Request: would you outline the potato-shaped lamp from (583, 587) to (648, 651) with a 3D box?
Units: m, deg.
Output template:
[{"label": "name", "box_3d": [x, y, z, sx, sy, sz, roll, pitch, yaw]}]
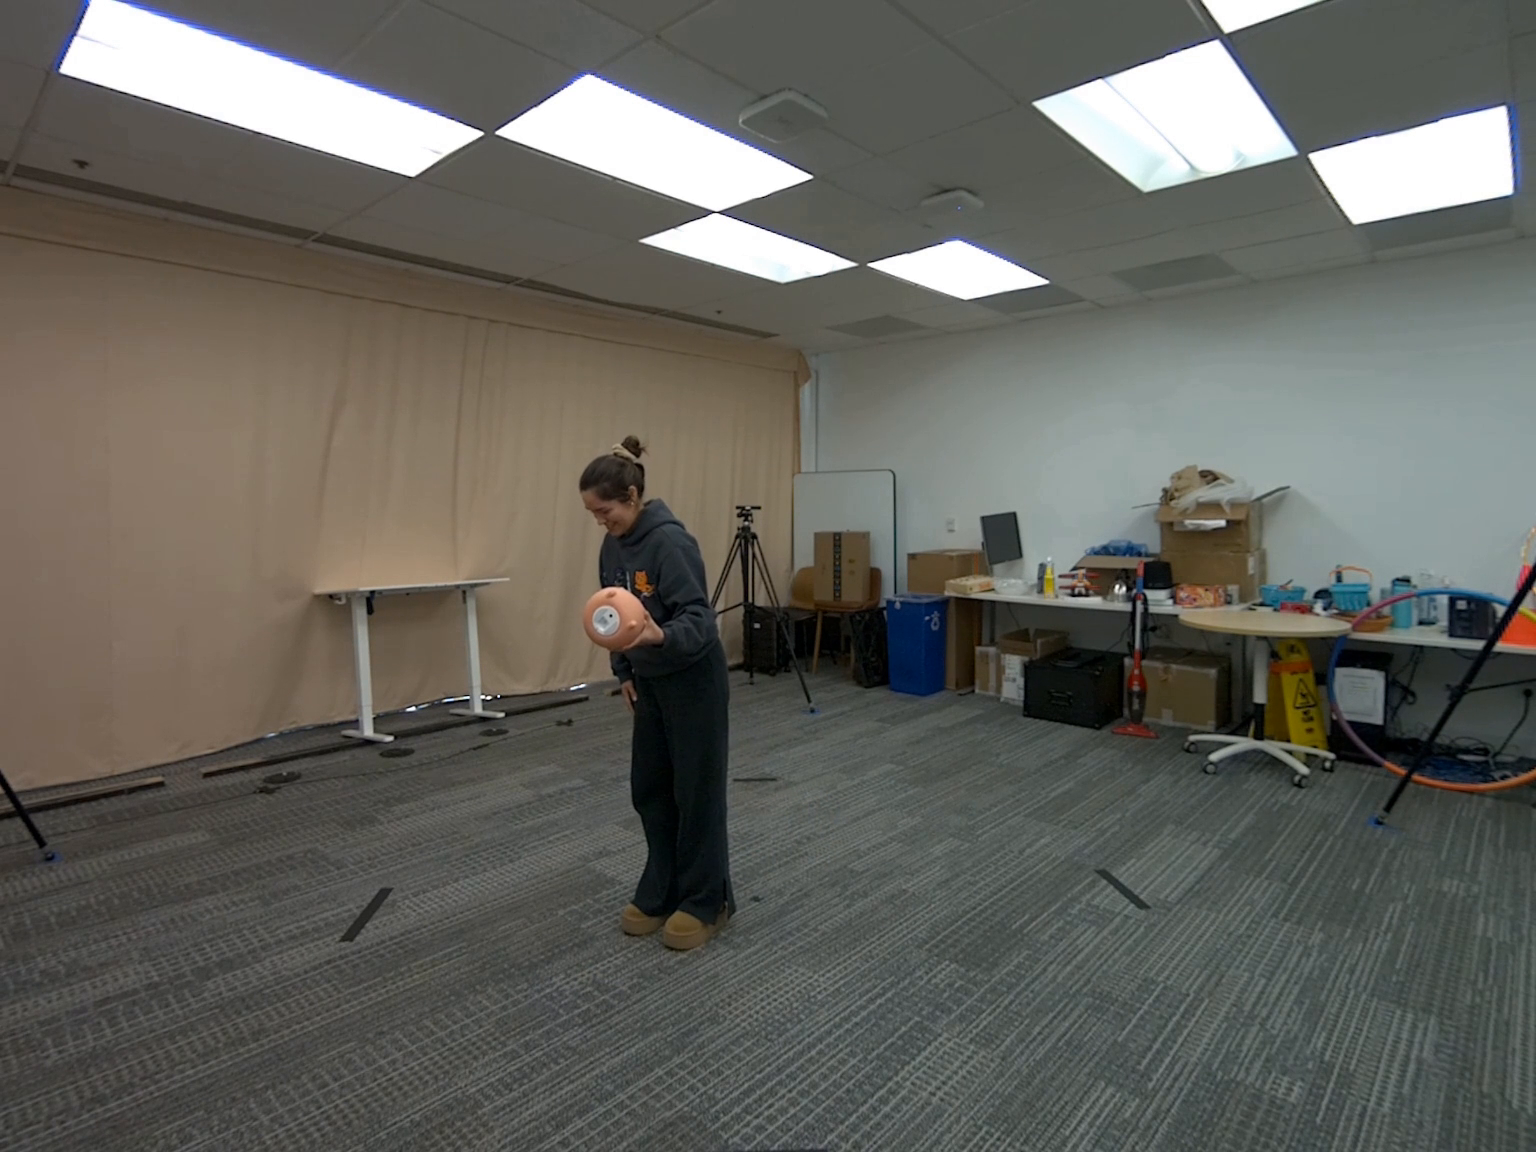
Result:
[{"label": "potato-shaped lamp", "box_3d": [-0.401, 0.116, 2.334, 0.172, 0.166, 0.195, -39, -5, 15]}]
